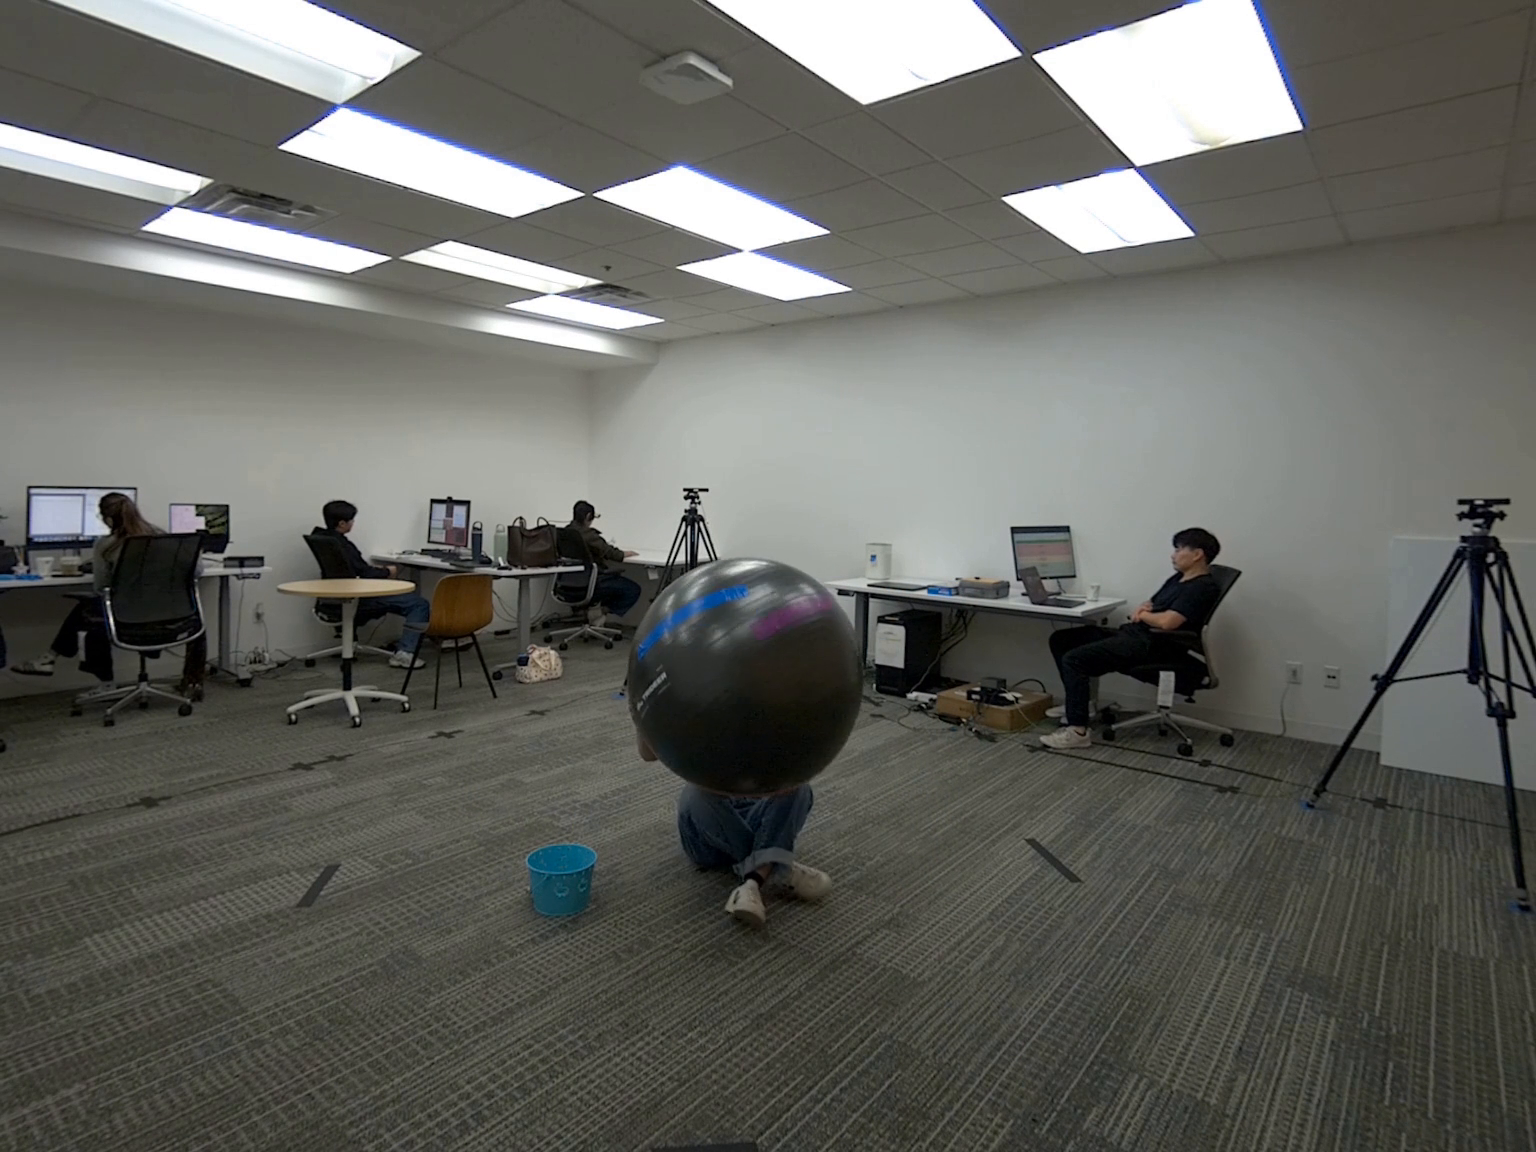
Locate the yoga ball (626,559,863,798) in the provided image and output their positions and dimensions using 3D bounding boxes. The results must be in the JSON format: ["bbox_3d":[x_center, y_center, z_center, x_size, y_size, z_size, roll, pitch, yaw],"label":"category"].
[{"bbox_3d":[-0.082,0.338,2.726,0.757,0.755,0.762,1,4,-2],"label":"yoga ball"}]
